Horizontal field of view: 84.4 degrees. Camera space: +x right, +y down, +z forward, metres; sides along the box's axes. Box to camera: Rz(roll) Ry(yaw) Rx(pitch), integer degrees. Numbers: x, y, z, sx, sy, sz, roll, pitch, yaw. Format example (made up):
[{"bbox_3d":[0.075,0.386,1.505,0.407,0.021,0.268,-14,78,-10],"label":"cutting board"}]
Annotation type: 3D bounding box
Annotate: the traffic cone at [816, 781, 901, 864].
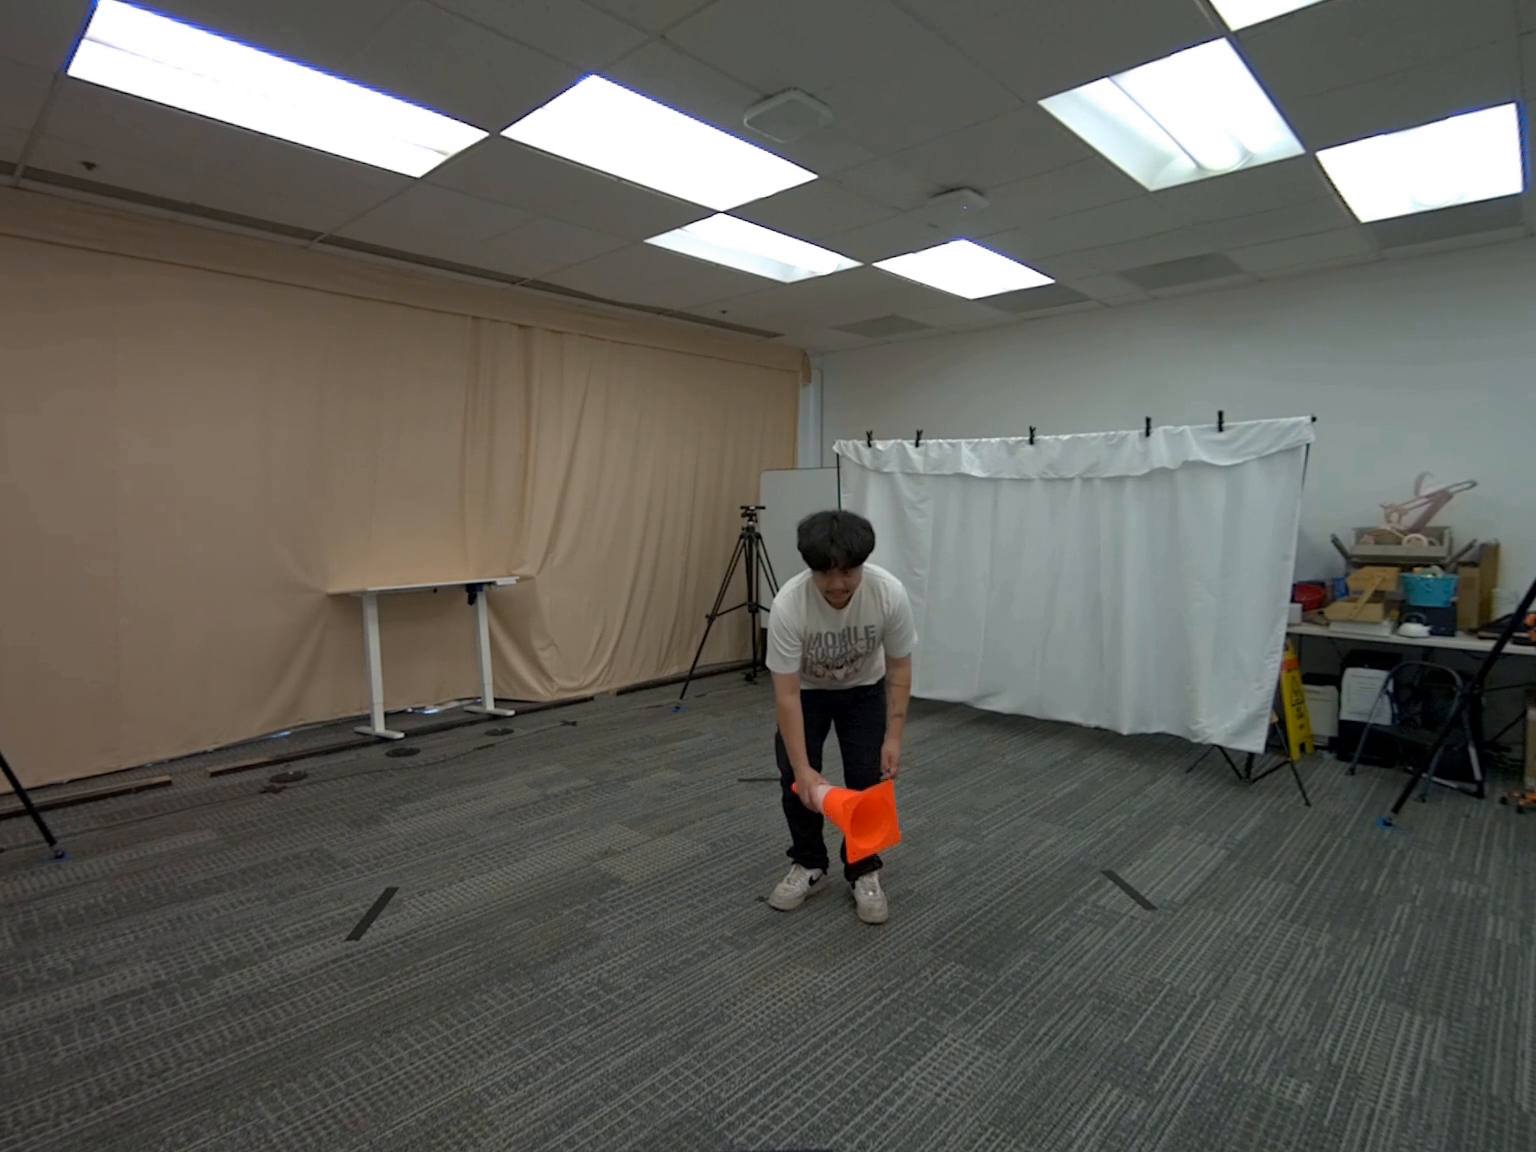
[{"bbox_3d":[0.196,0.713,2.643,0.200,0.202,0.395,-12,9,-33],"label":"traffic cone"}]
